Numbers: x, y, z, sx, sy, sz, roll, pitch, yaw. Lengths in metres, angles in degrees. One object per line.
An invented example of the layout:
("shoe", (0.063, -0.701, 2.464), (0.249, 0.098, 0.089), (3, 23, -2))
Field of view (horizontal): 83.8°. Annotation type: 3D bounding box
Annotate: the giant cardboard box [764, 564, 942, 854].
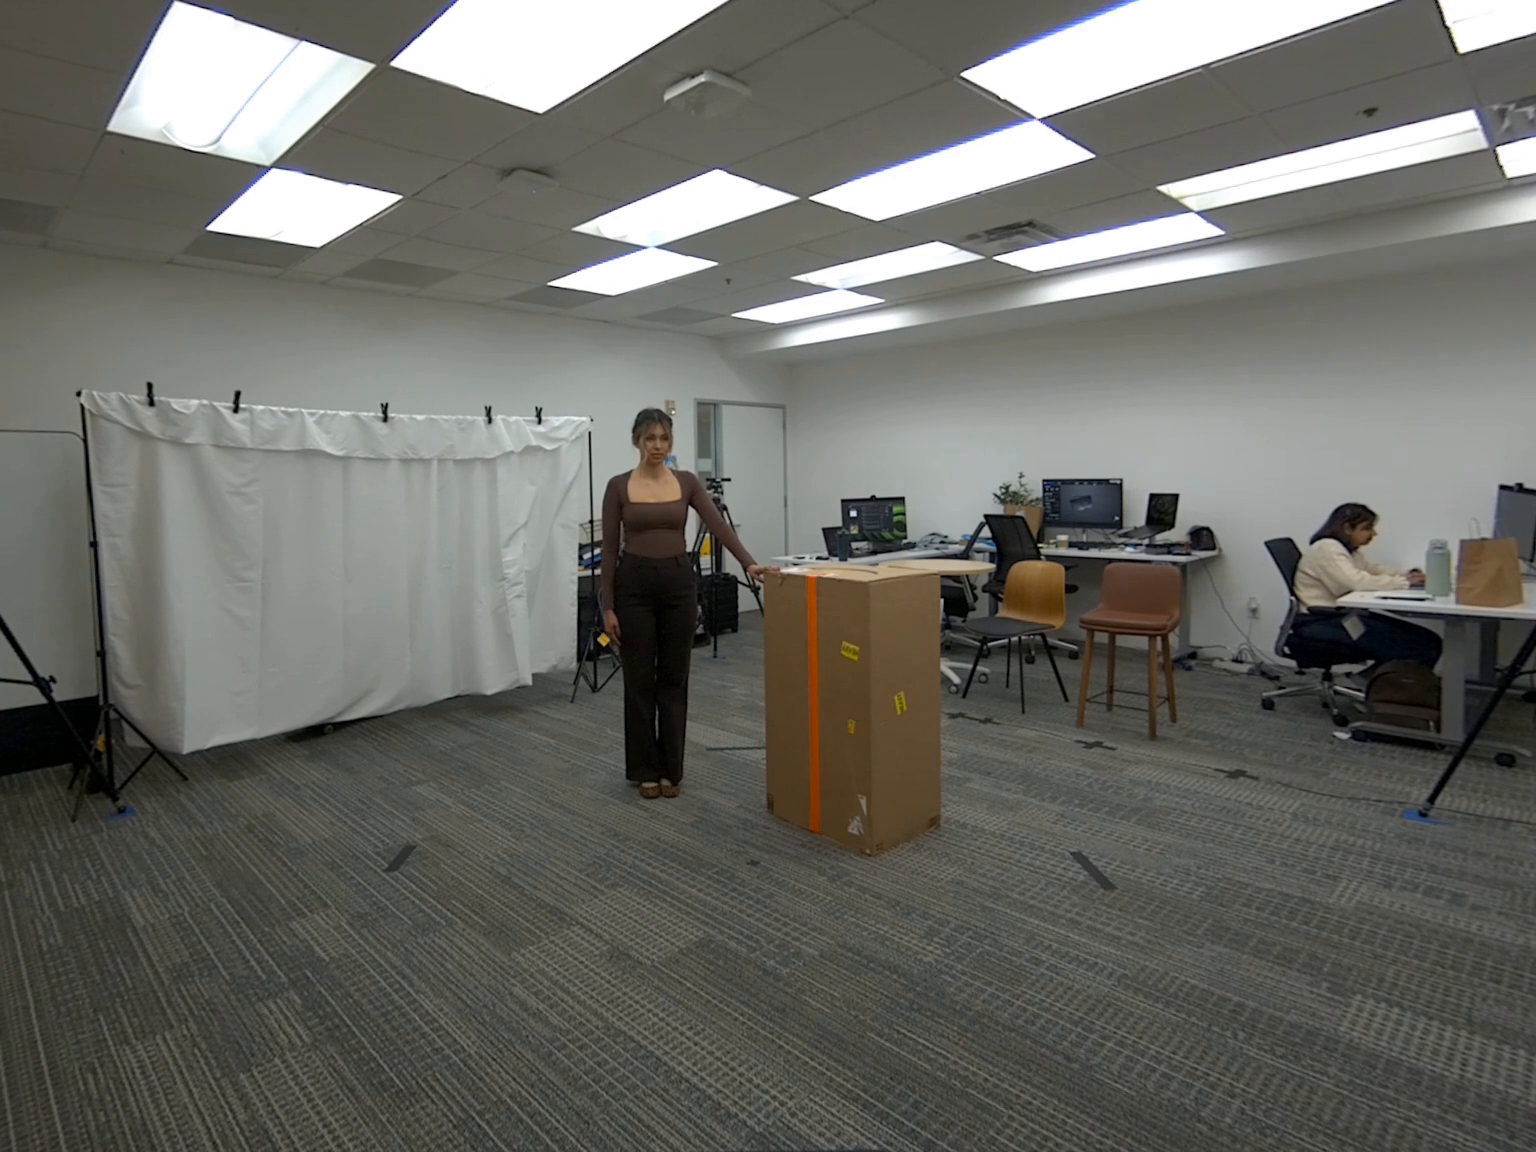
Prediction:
("giant cardboard box", (0.335, 0.486, 3.456), (0.435, 1.023, 0.602), (-5, 6, -39))
